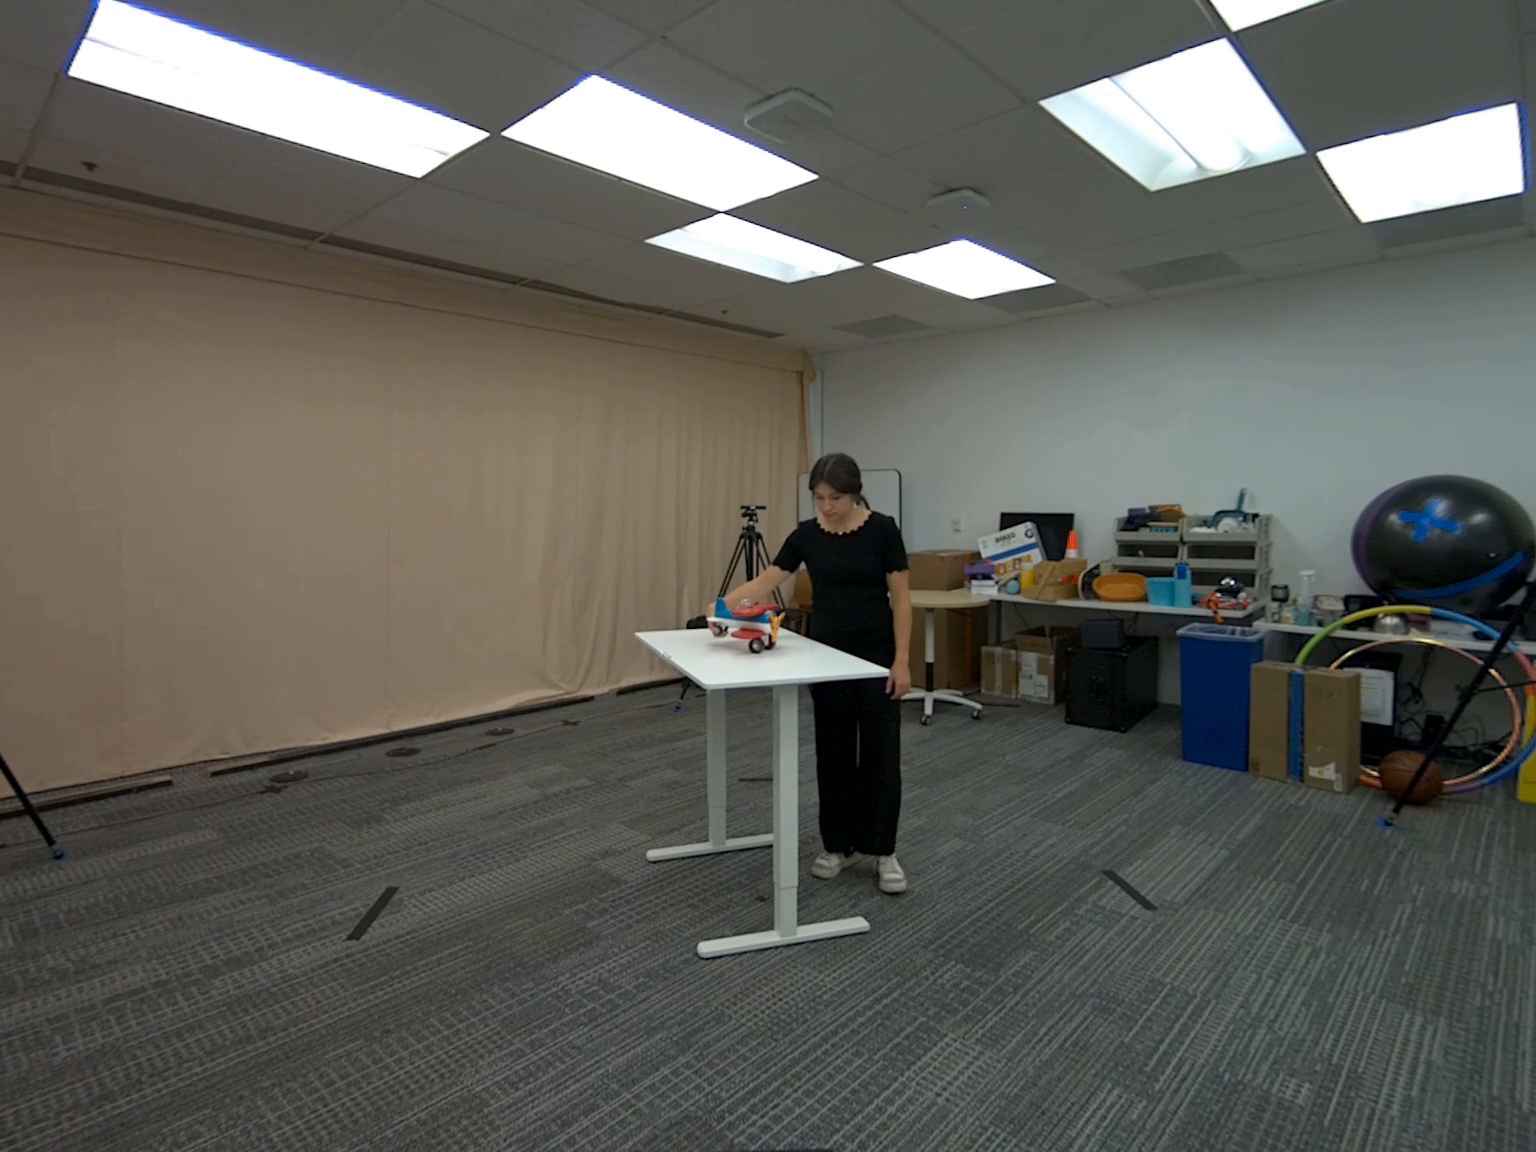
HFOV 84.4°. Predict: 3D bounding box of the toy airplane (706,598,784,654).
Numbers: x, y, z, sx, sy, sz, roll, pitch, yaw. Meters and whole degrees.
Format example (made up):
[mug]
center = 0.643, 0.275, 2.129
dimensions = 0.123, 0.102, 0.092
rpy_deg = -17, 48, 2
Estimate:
[toy airplane]
center = -0.079, 0.168, 2.965
dimensions = 0.259, 0.156, 0.252
rpy_deg = 14, 11, 0
